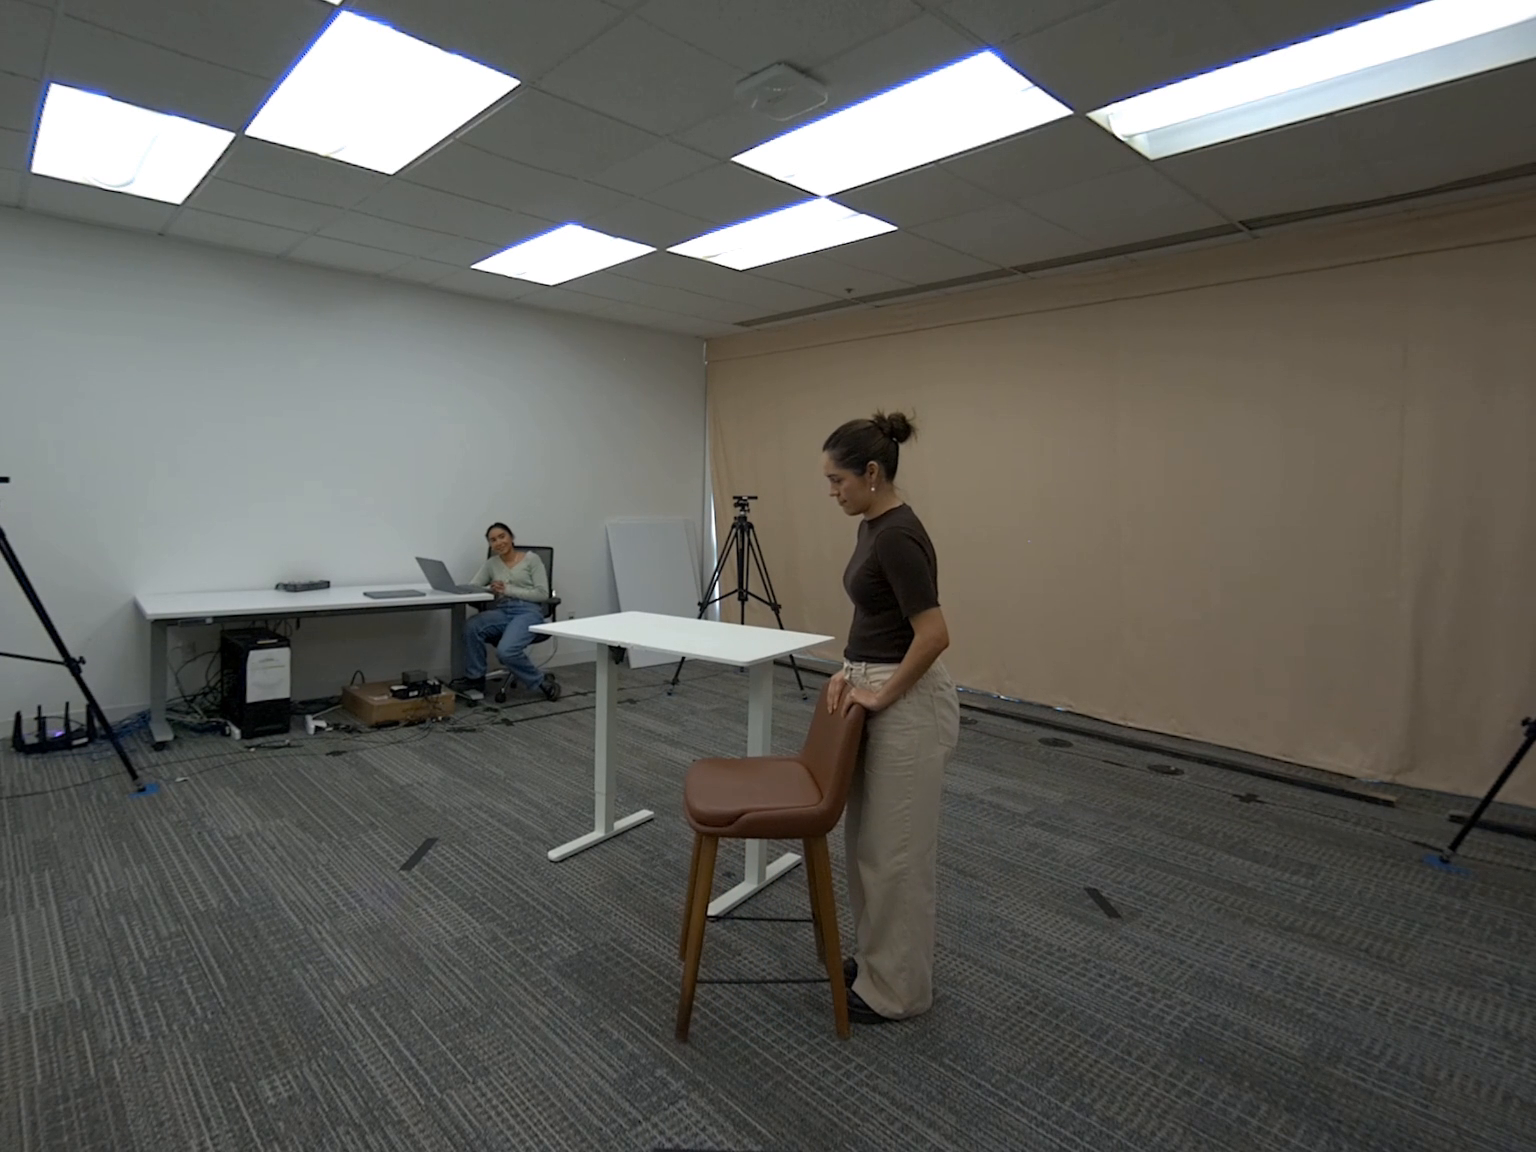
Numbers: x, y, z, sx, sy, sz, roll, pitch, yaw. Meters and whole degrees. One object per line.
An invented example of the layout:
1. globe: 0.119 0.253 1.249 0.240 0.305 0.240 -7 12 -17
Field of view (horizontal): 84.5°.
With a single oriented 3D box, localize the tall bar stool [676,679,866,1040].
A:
1. tall bar stool: -0.014 0.742 2.322 0.467 0.887 0.458 3 4 -2
